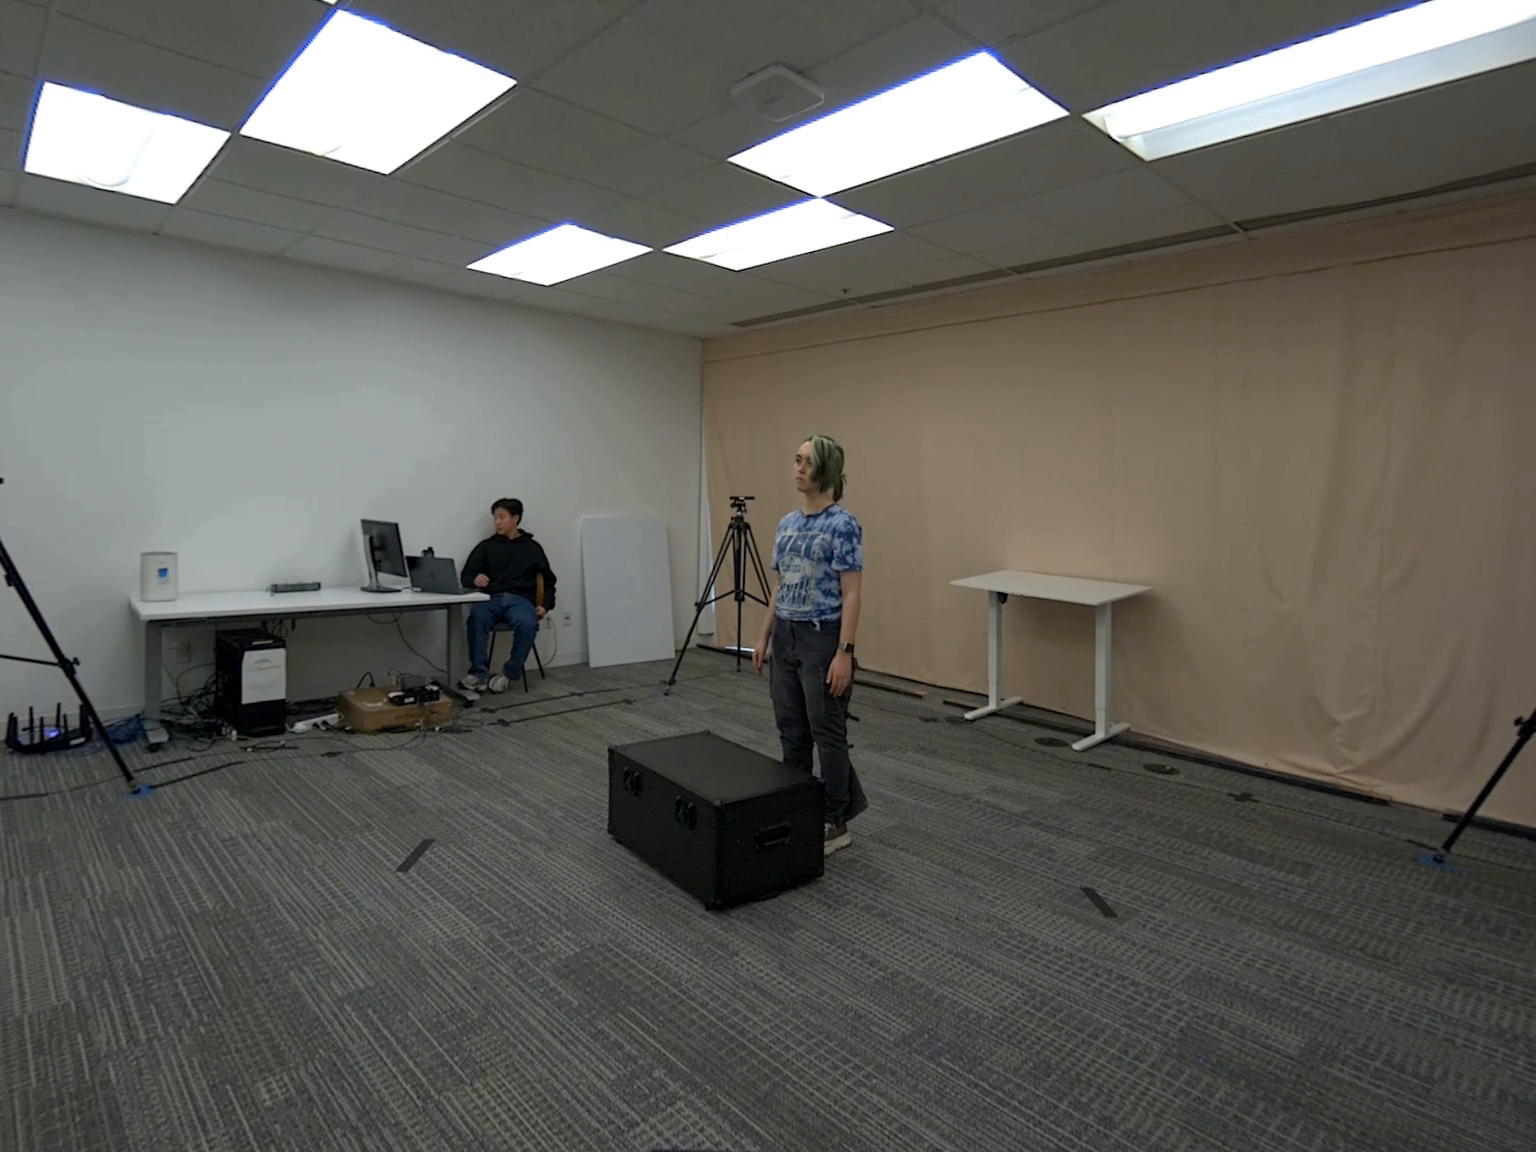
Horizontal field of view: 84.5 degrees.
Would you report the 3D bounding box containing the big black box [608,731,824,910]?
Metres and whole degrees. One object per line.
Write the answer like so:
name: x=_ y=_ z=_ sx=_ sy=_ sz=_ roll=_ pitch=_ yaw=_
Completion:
big black box: x=-0.247 y=0.899 z=3.250 sx=0.510 sy=0.395 sz=0.883 roll=-2 pitch=6 yaw=-37
